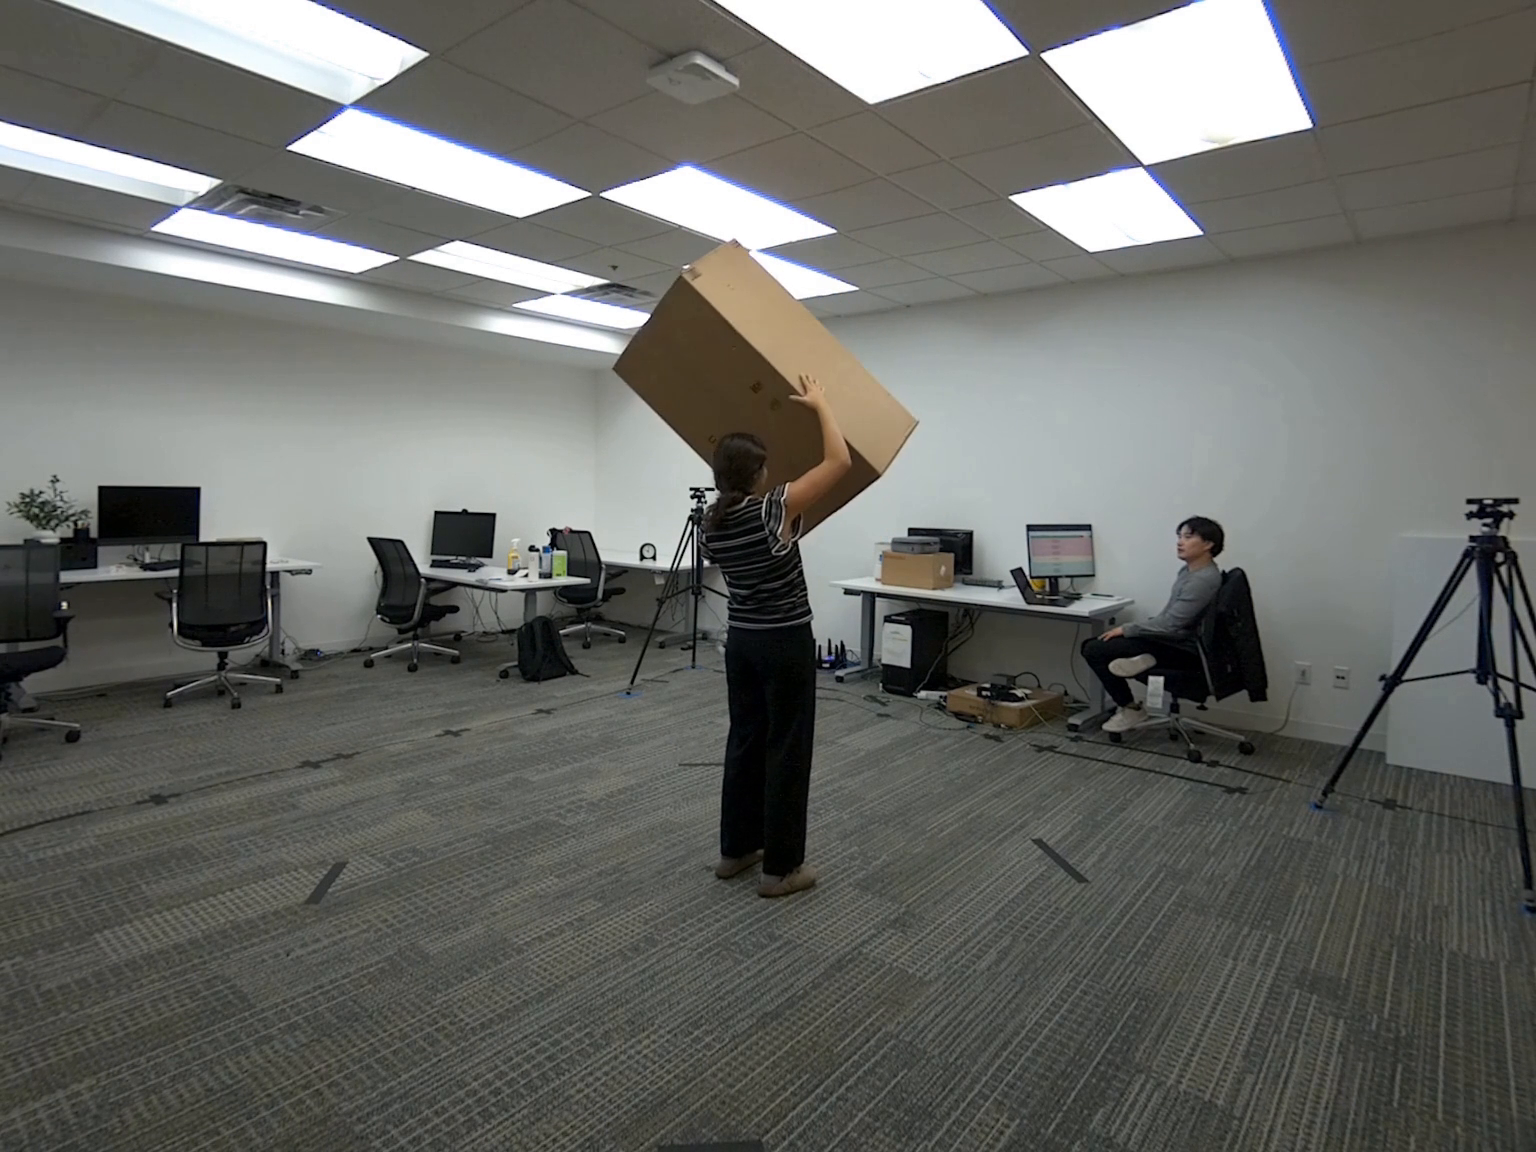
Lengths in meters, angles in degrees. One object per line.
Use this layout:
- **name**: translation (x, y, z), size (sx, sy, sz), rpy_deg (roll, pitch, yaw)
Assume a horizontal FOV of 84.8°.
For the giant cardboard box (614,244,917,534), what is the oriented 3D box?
- **giant cardboard box**: translation (-0.020, -0.717, 3.361), size (0.580, 1.021, 0.426), rpy_deg (-41, 6, 46)
